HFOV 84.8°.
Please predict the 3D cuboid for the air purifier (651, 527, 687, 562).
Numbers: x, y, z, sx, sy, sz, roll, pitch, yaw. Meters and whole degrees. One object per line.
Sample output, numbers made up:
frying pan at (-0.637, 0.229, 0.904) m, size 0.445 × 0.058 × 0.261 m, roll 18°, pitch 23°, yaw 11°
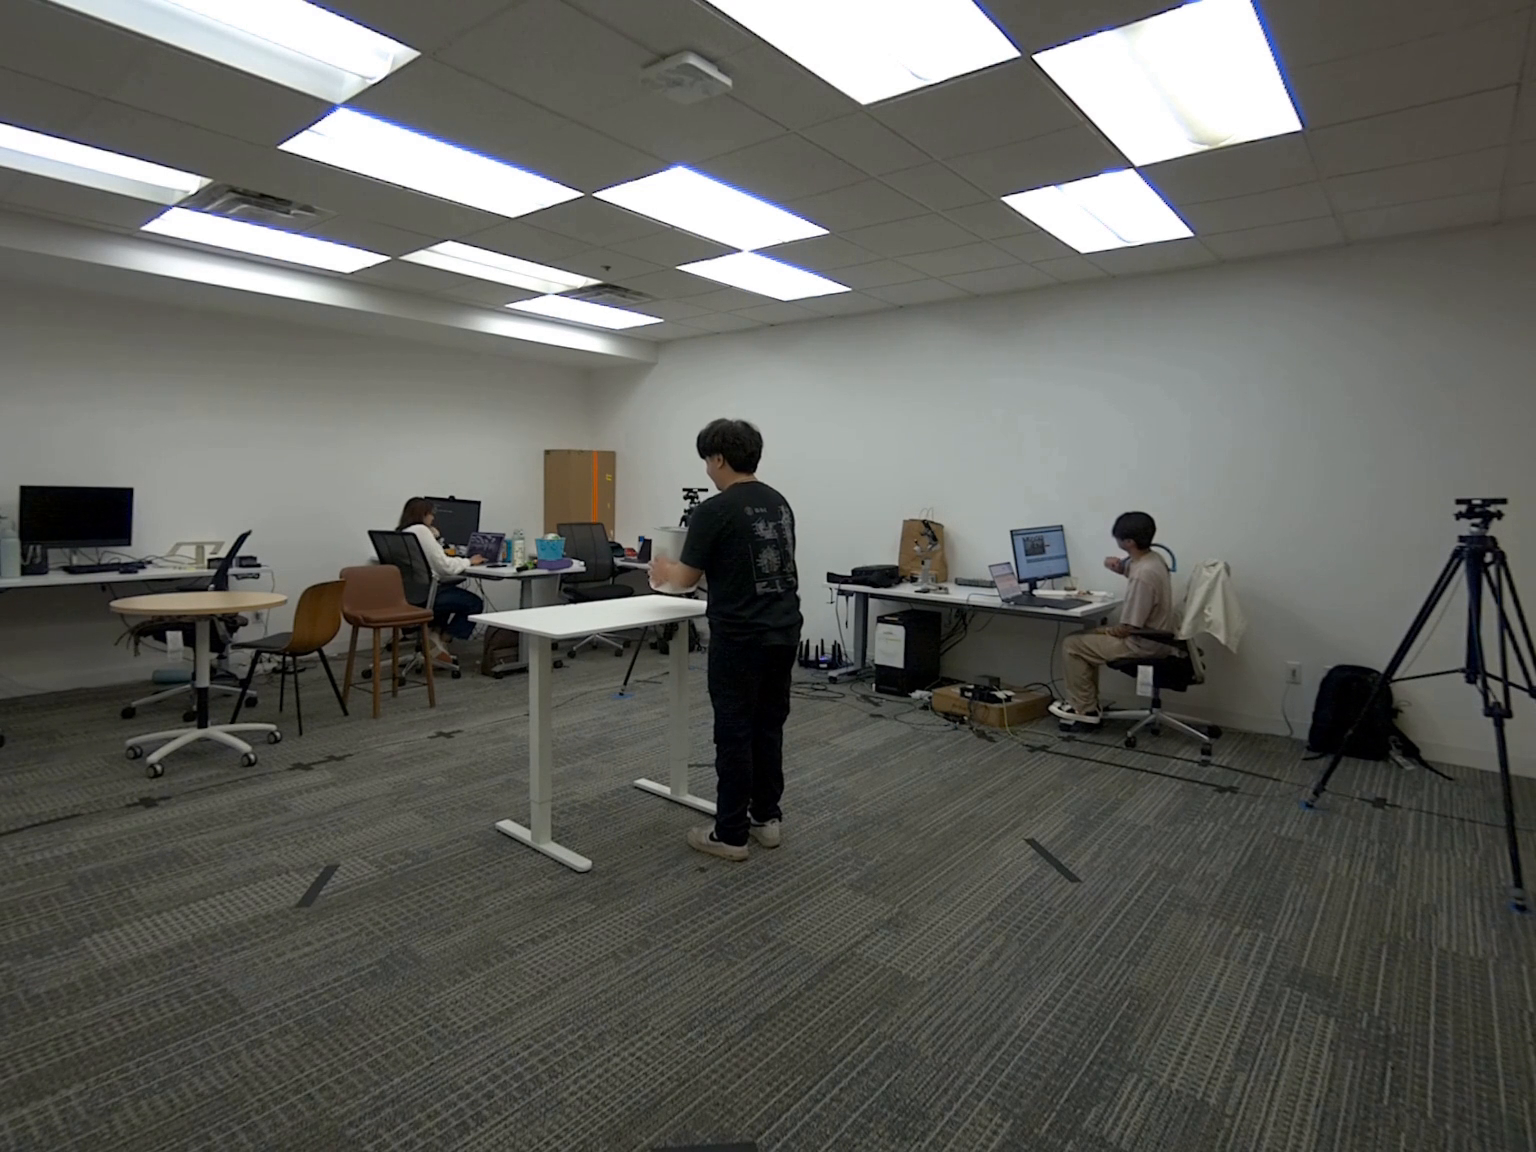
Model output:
air purifier at (-0.403, -0.069, 3.600) m, size 0.178 × 0.264 × 0.166 m, roll 8°, pitch 9°, yaw 41°
